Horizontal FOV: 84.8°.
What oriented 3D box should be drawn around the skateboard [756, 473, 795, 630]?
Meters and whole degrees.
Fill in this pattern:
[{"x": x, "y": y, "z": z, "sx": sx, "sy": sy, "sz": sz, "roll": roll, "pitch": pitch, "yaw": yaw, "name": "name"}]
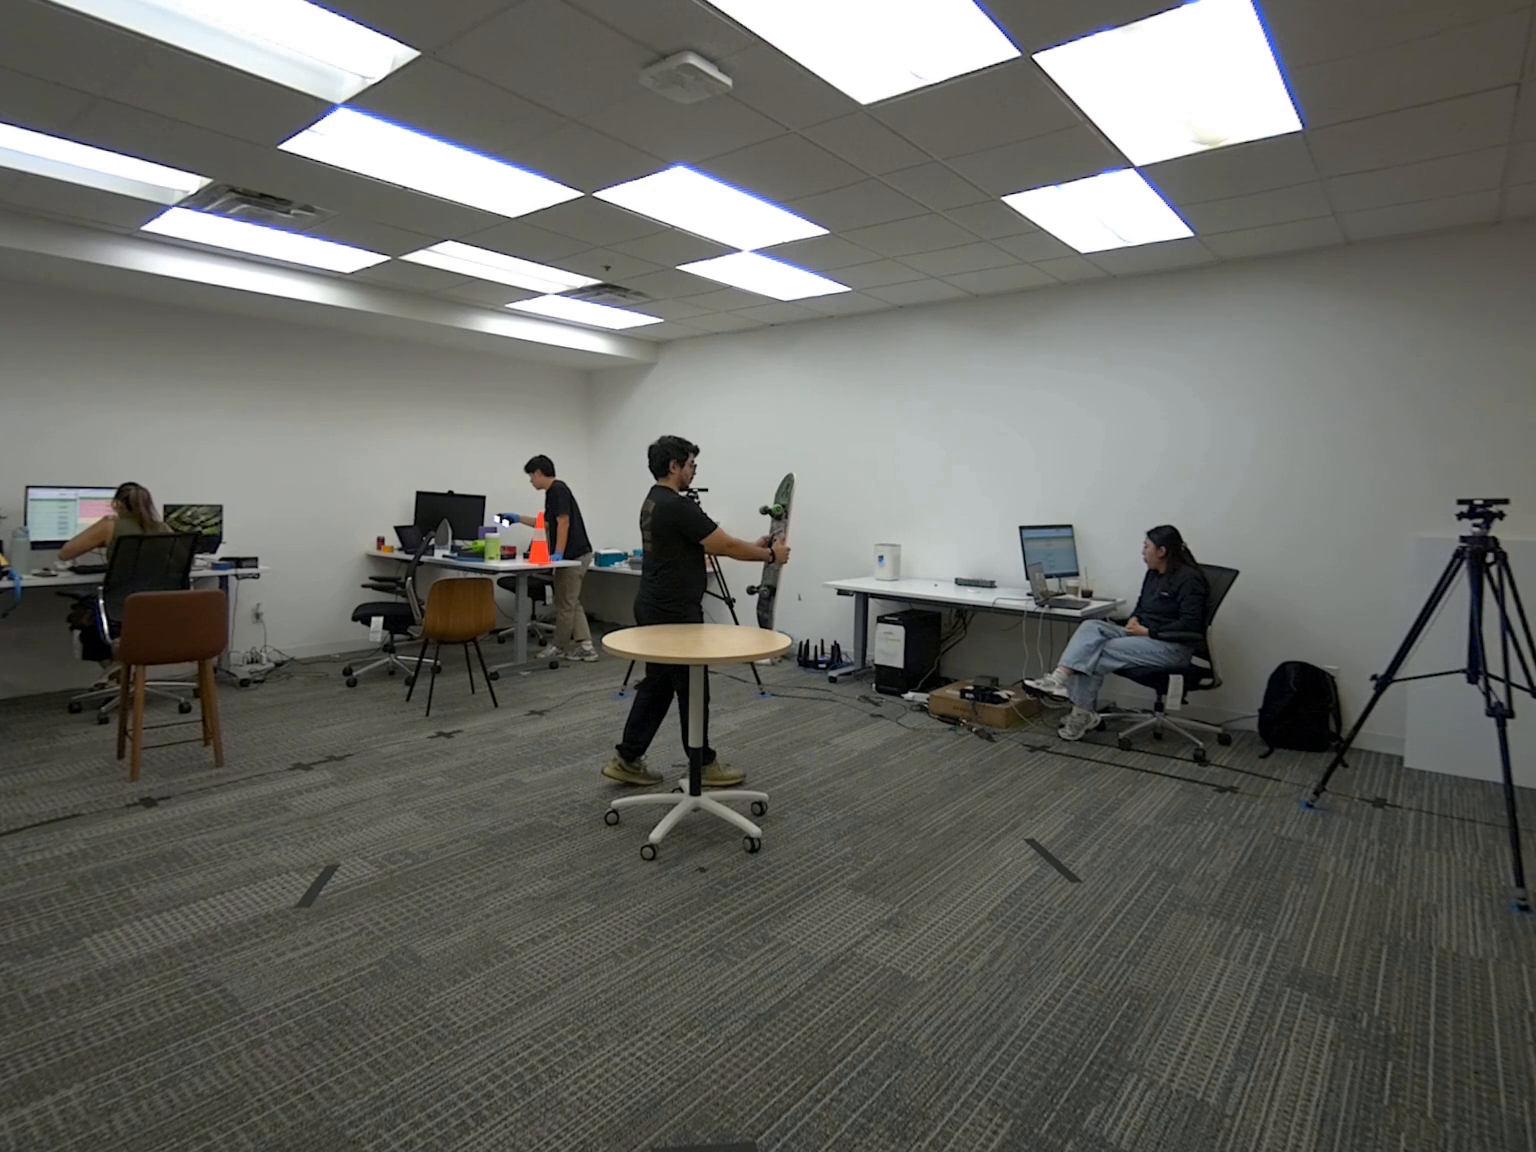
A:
[{"x": -0.001, "y": -0.120, "z": 4.100, "sx": 0.107, "sy": 0.787, "sz": 0.198, "roll": 10, "pitch": -2, "yaw": -25, "name": "skateboard"}]
